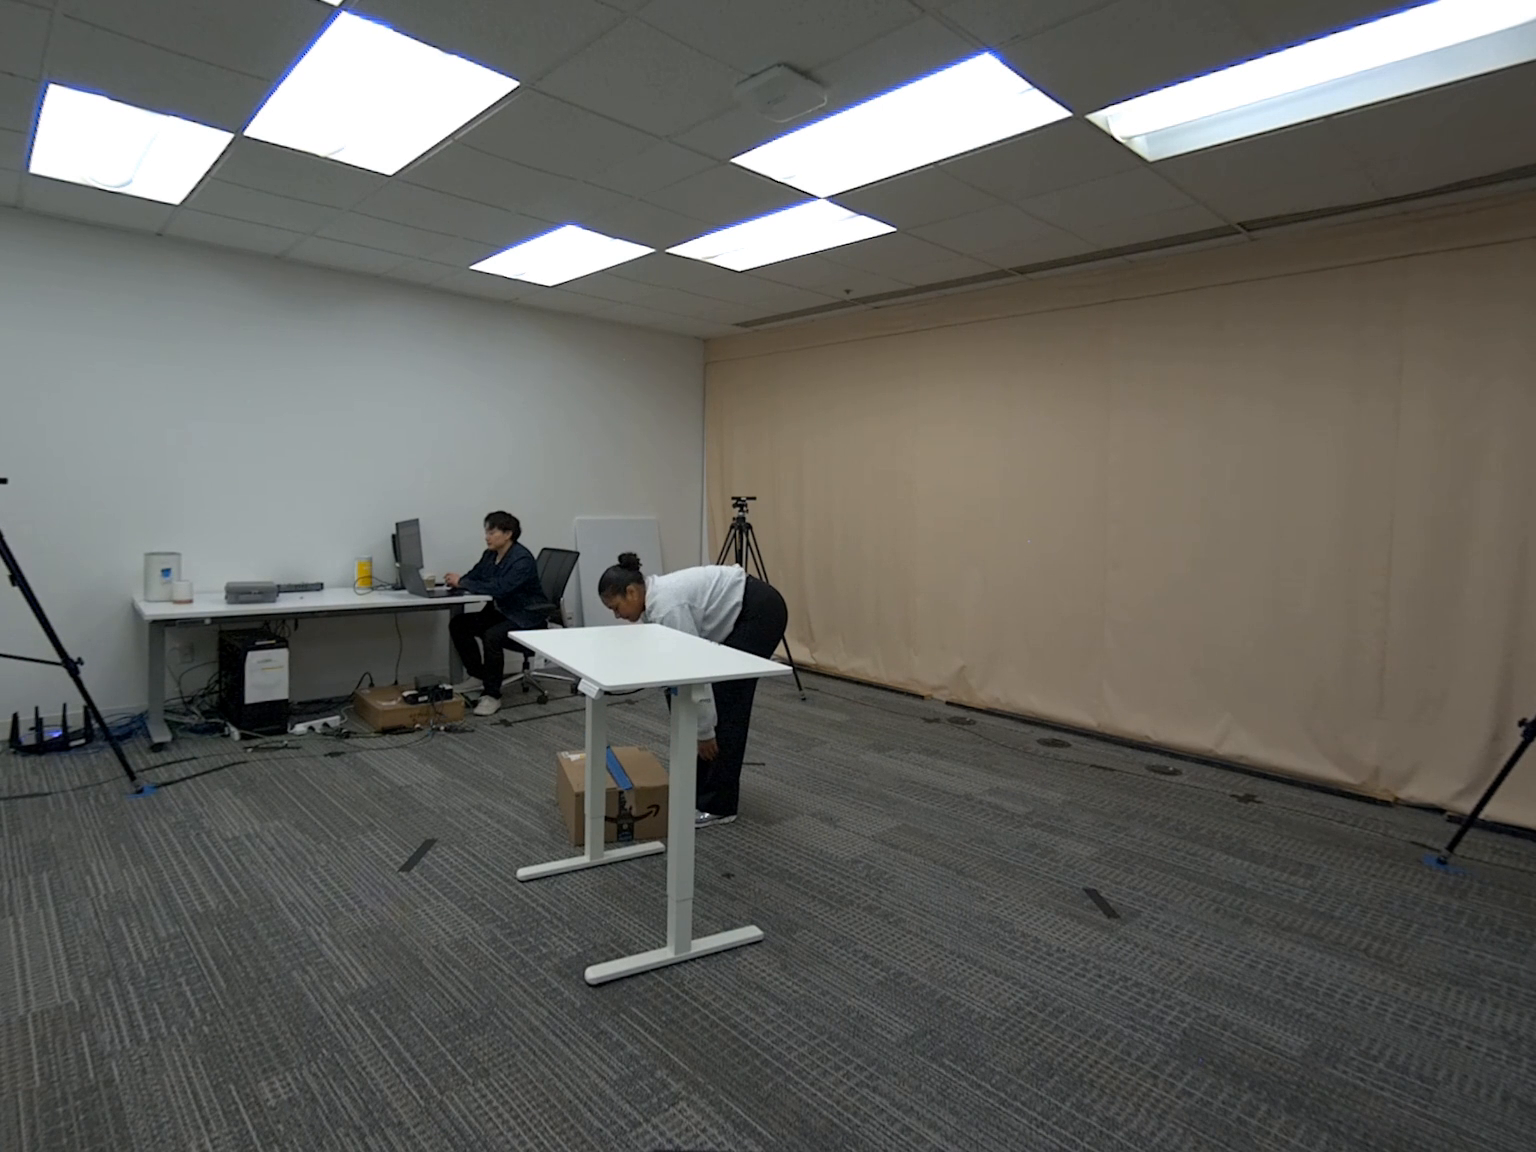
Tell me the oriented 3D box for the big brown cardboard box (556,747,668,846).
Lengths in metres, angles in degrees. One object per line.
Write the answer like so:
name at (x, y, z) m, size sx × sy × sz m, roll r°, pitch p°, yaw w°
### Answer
big brown cardboard box at (-0.681, 0.933, 3.653) m, size 0.411 × 0.232 × 0.600 m, roll 0°, pitch 6°, yaw -20°
